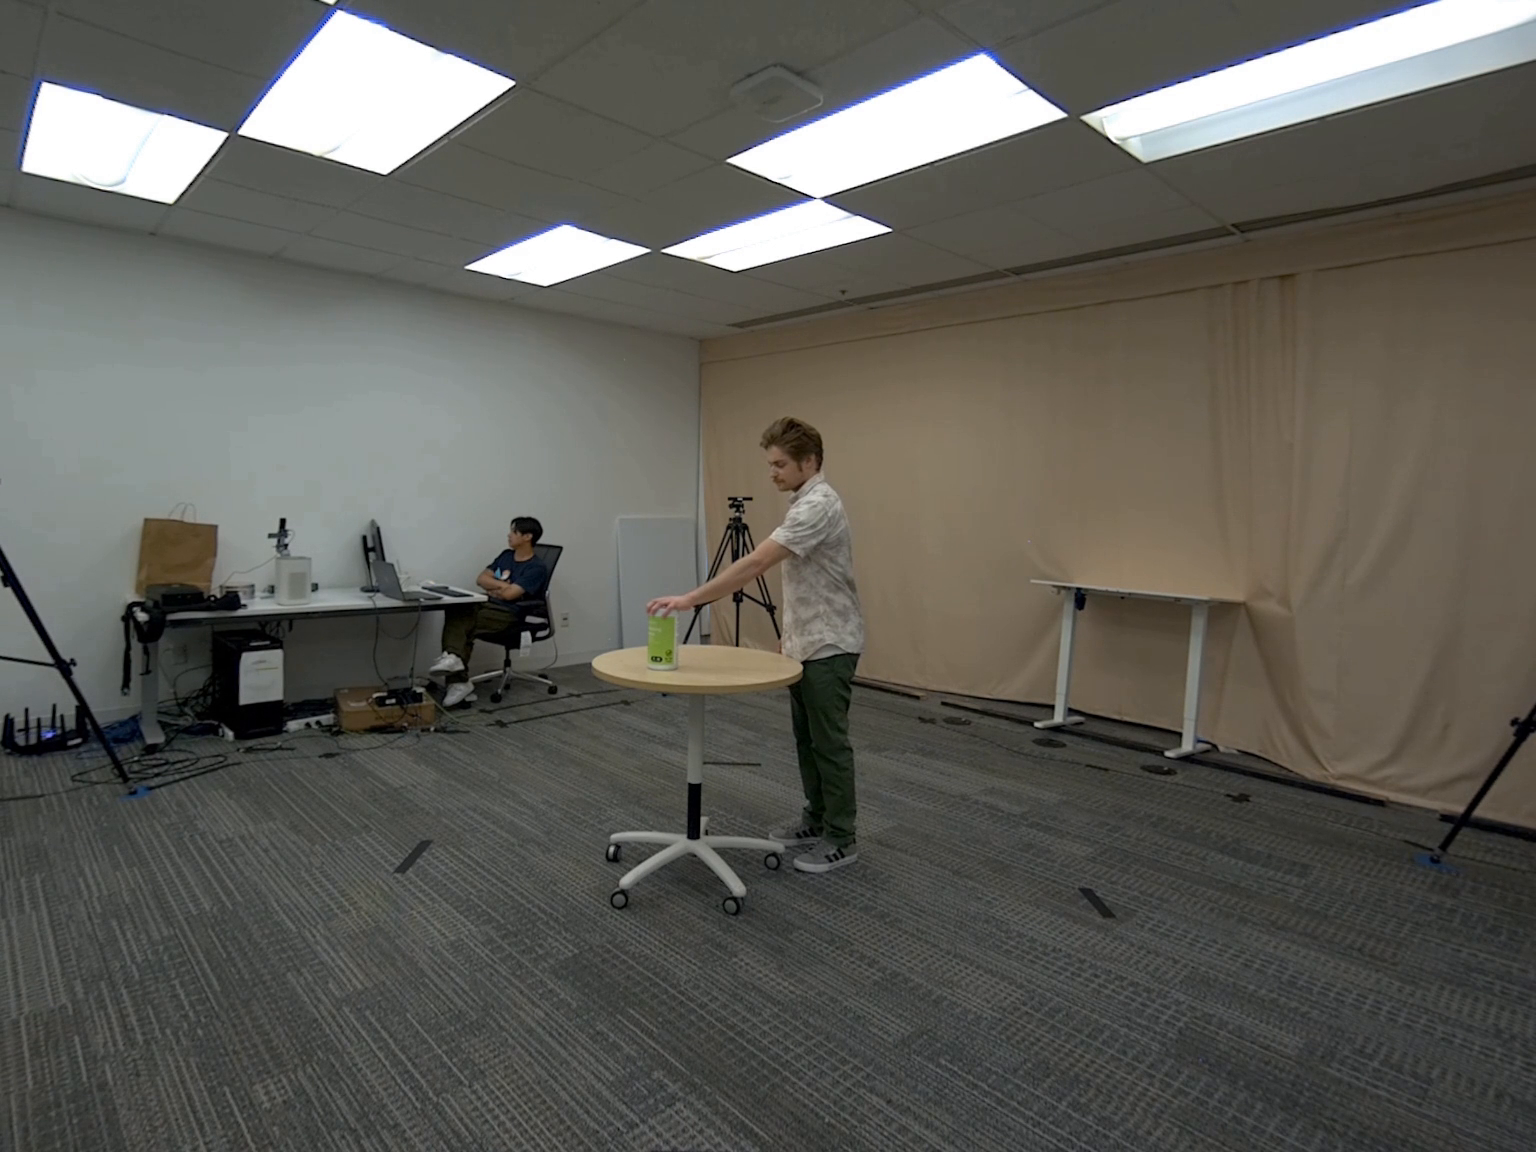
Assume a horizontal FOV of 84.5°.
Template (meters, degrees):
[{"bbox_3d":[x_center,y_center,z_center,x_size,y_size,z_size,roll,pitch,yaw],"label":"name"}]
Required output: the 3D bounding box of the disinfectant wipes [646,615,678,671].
[{"bbox_3d":[-0.378,0.220,2.953,0.118,0.217,0.118,2,4,-2],"label":"disinfectant wipes"}]
